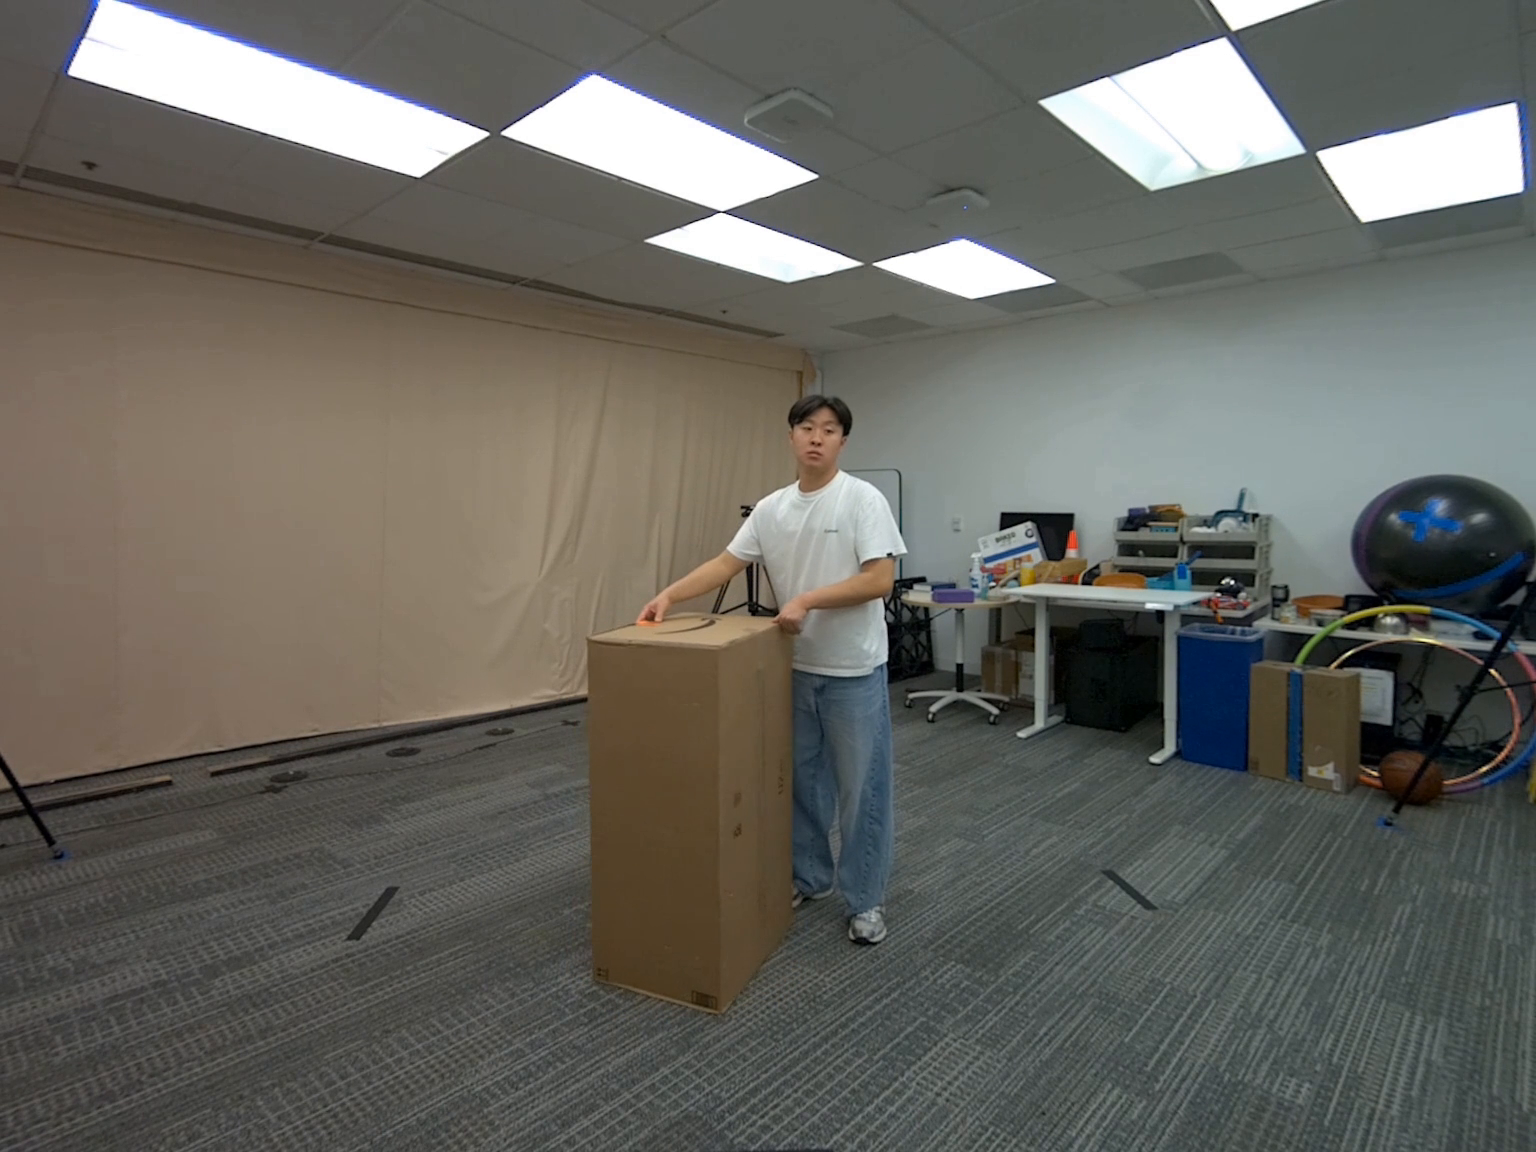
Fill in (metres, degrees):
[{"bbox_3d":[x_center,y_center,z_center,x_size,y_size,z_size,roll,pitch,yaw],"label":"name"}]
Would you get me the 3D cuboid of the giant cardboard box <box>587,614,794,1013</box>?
[{"bbox_3d":[-0.226,0.667,2.603,0.437,1.024,0.564,1,3,24],"label":"giant cardboard box"}]
